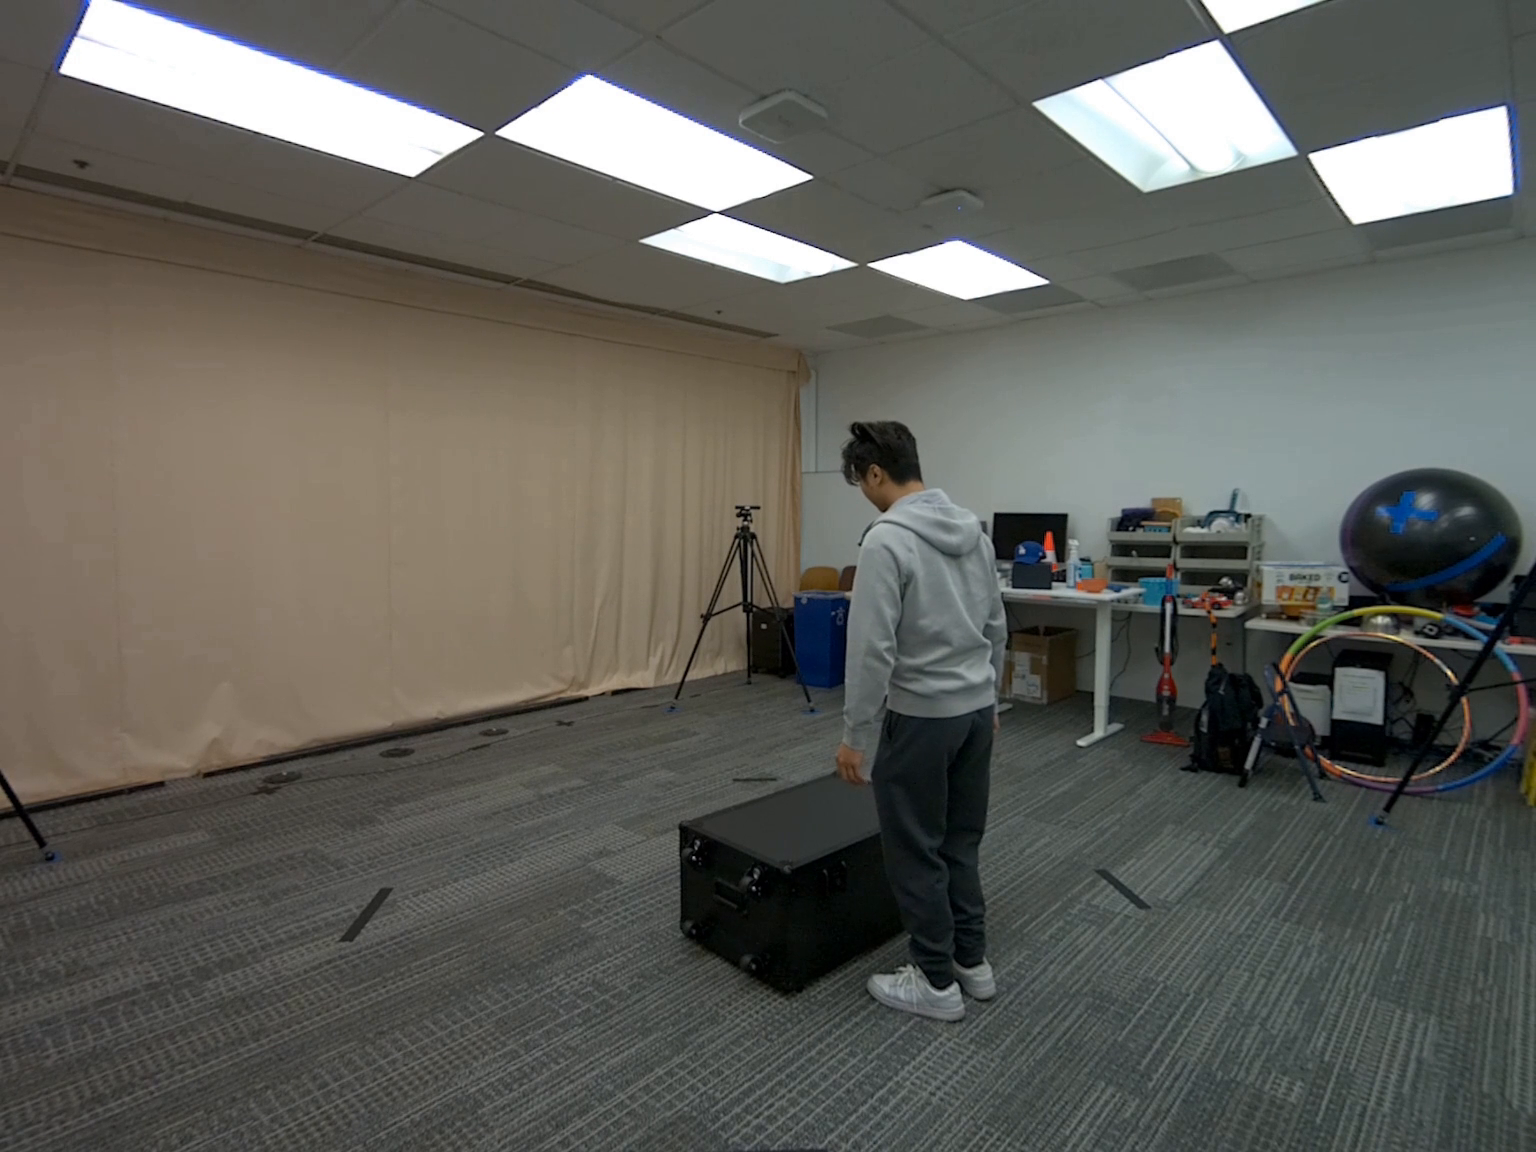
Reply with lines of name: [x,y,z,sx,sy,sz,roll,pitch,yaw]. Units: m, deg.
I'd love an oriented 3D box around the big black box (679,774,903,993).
big black box: [0.137,0.973,2.769,0.835,0.395,0.539,-4,6,-44]
